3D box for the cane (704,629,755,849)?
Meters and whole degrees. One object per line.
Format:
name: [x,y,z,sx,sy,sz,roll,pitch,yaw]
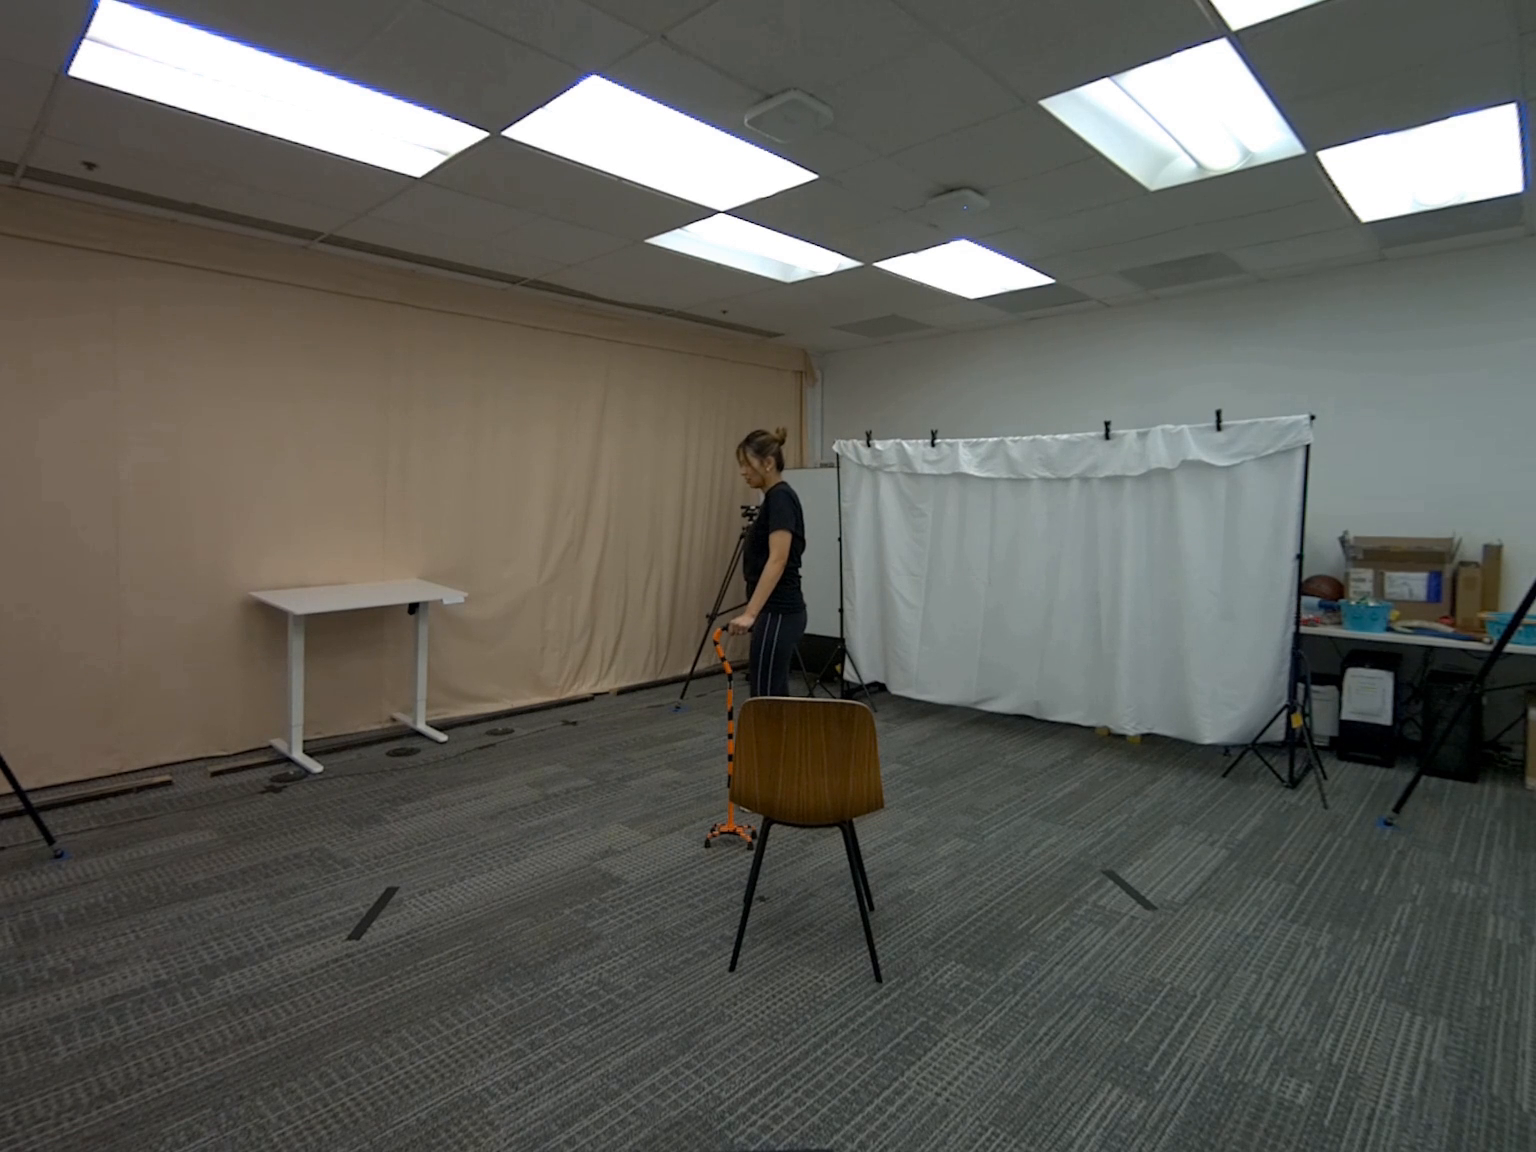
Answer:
cane: [-0.160,0.648,3.458,0.208,0.906,0.151,-1,3,6]
